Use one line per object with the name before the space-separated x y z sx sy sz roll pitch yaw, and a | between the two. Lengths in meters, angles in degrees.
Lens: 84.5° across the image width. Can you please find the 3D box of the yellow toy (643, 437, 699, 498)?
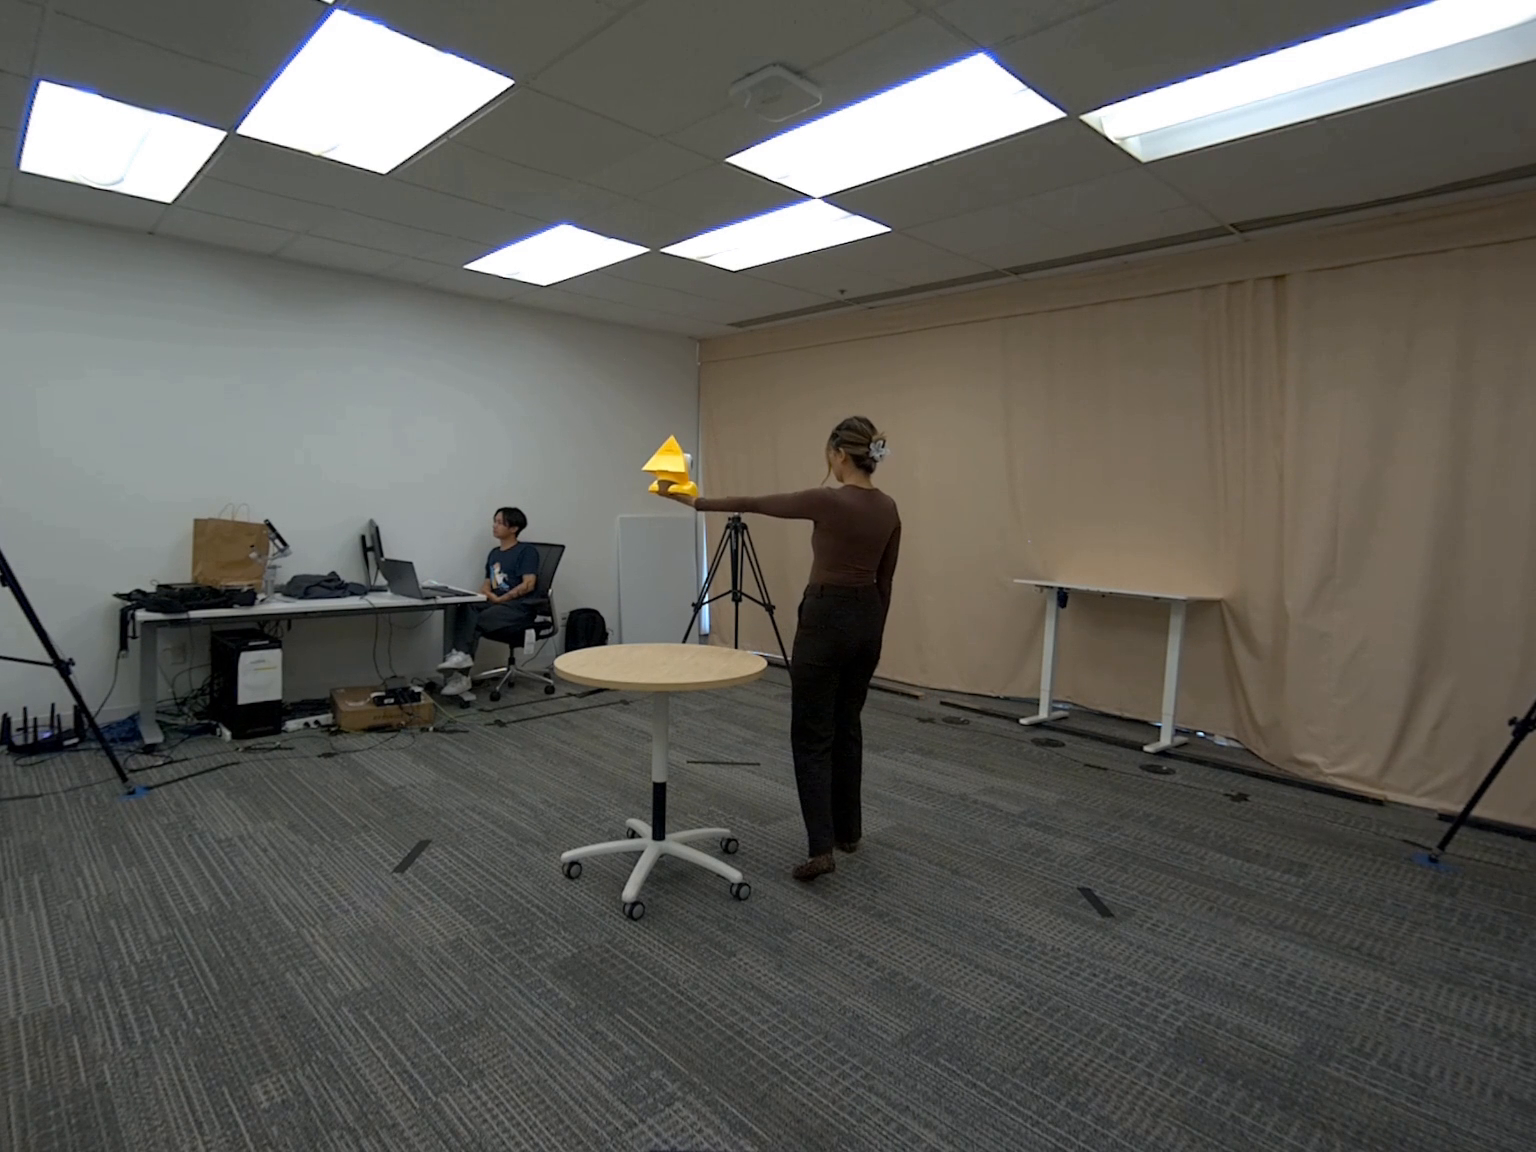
yellow toy | -0.380 -0.447 3.434 0.209 0.231 0.188 6 -3 28
